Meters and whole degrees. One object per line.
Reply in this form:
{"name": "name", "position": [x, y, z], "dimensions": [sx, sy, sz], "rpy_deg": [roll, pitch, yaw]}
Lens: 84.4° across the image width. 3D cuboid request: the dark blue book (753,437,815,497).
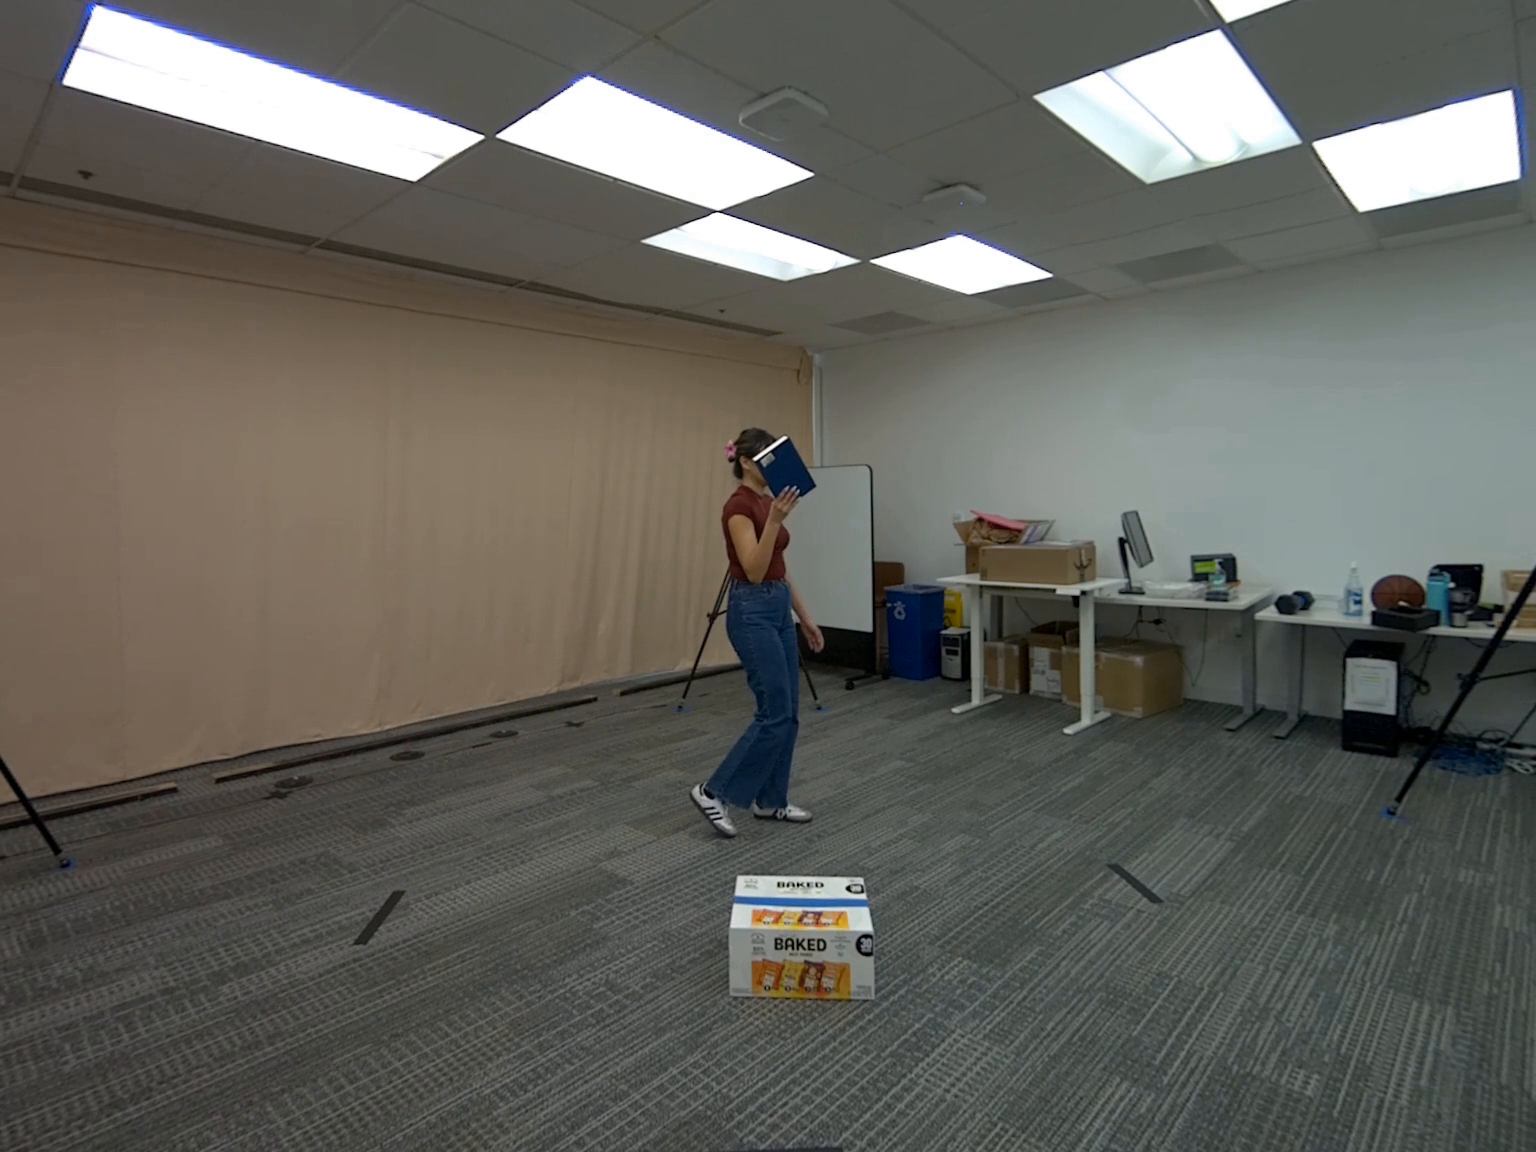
{"name": "dark blue book", "position": [0.062, -0.399, 3.264], "dimensions": [0.163, 0.238, 0.046], "rpy_deg": [-35, 28, -2]}
